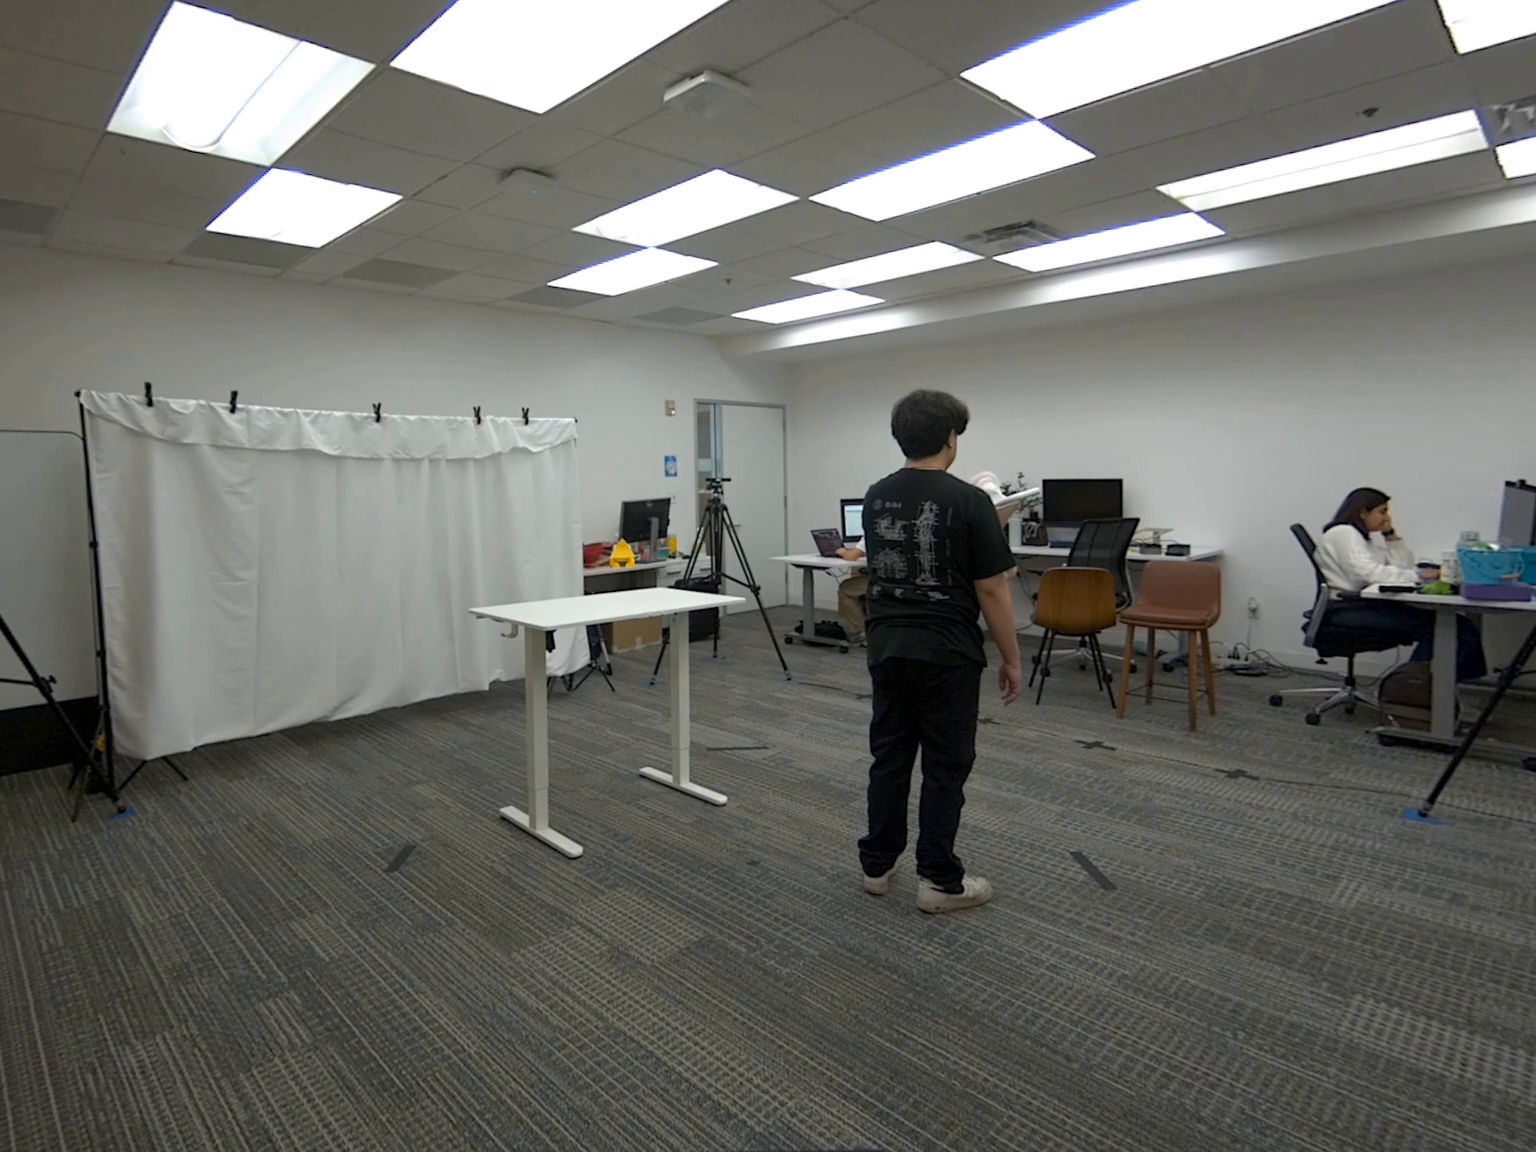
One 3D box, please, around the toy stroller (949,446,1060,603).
[{"bbox_3d":[0.828,-0.173,3.365,0.276,0.524,0.355,-14,41,-31],"label":"toy stroller"}]
